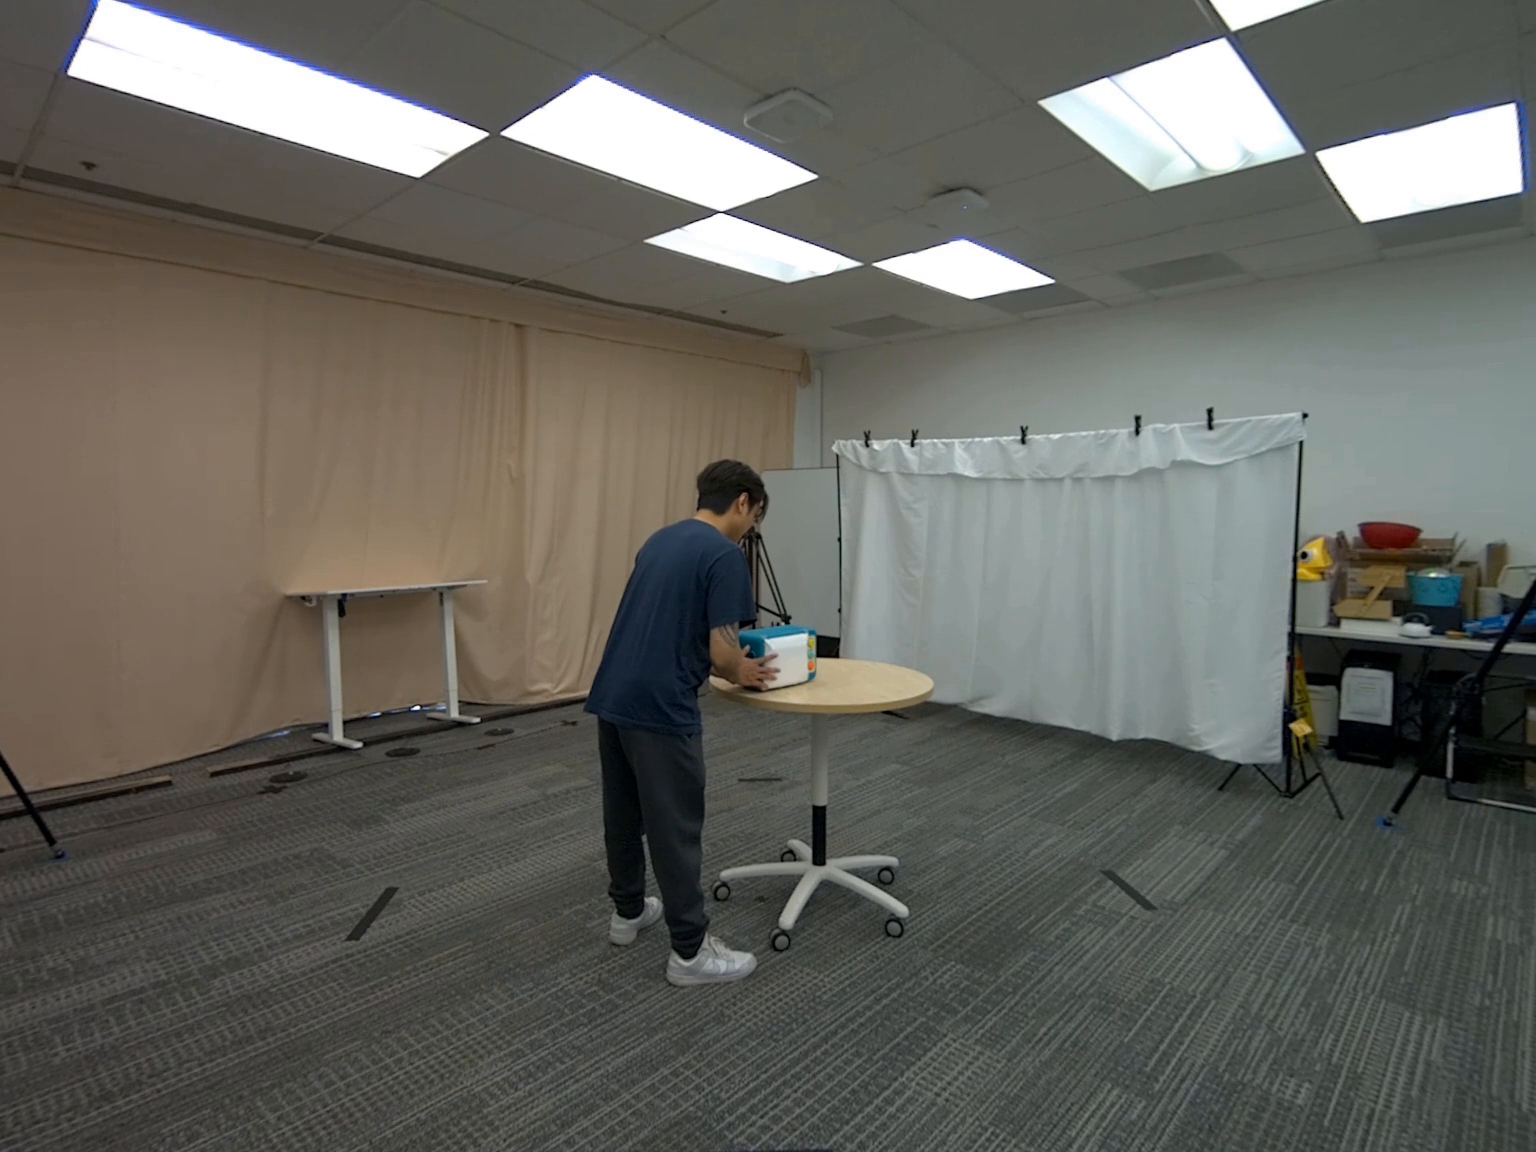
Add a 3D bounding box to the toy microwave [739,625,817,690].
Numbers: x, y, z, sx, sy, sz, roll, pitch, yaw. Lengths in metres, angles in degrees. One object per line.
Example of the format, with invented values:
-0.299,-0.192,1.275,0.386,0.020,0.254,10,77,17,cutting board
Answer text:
0.043,0.273,2.808,0.157,0.183,0.277,4,6,45,toy microwave
